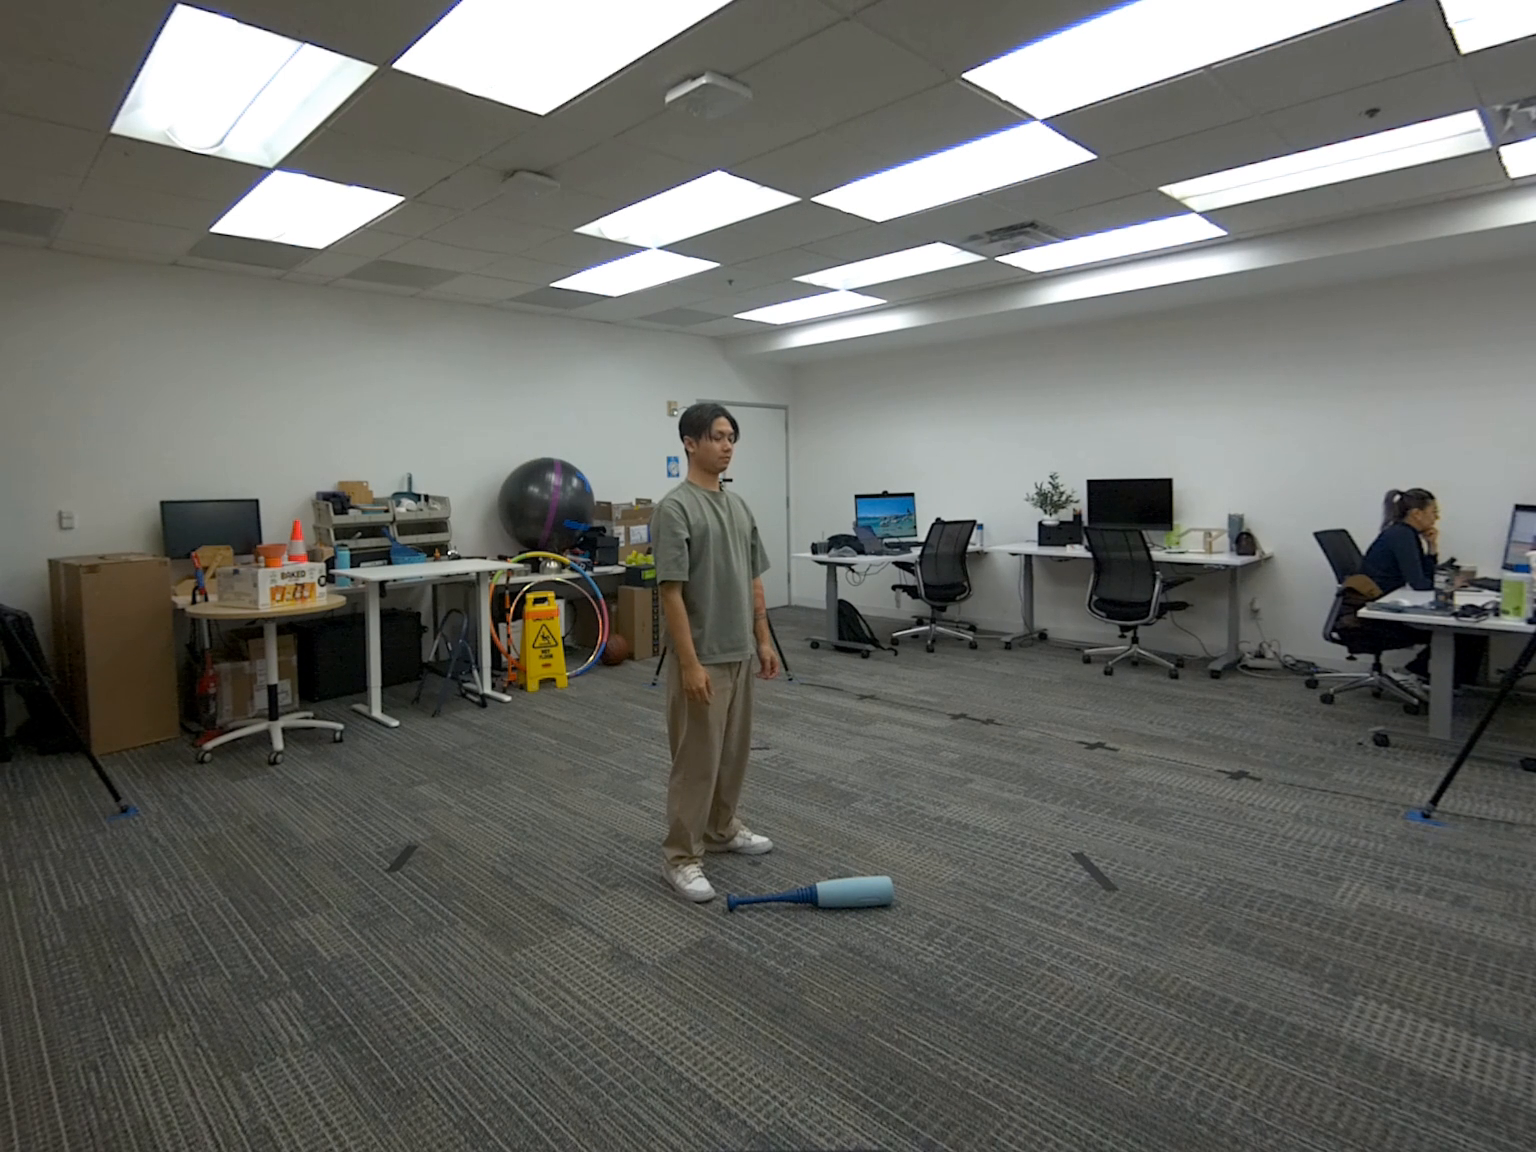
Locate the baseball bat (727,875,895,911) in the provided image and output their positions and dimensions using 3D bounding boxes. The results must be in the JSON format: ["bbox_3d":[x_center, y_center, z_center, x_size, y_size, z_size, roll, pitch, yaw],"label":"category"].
[{"bbox_3d":[0.141,1.040,2.780,0.542,0.089,0.089,-3,5,-2],"label":"baseball bat"}]
